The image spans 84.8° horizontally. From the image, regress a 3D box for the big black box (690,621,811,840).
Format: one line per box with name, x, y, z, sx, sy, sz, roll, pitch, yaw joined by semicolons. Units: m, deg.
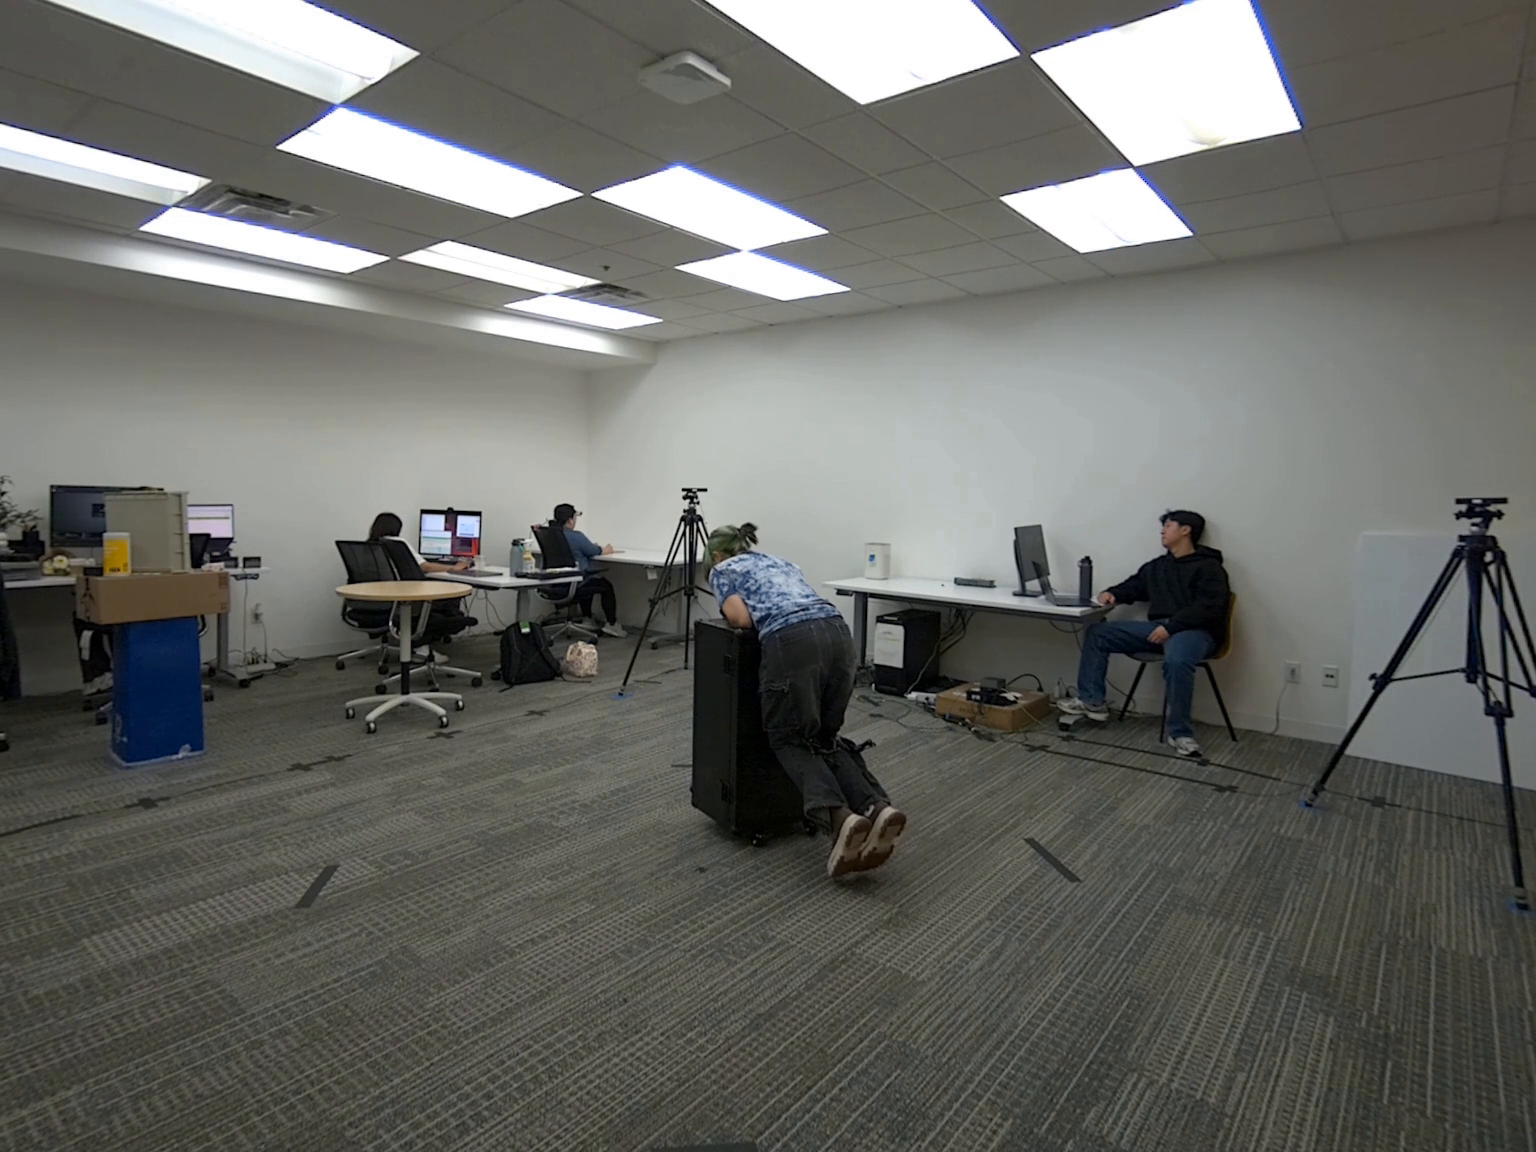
big black box;-0.033;0.557;3.517;0.507;0.859;0.408;-1;3;-32
